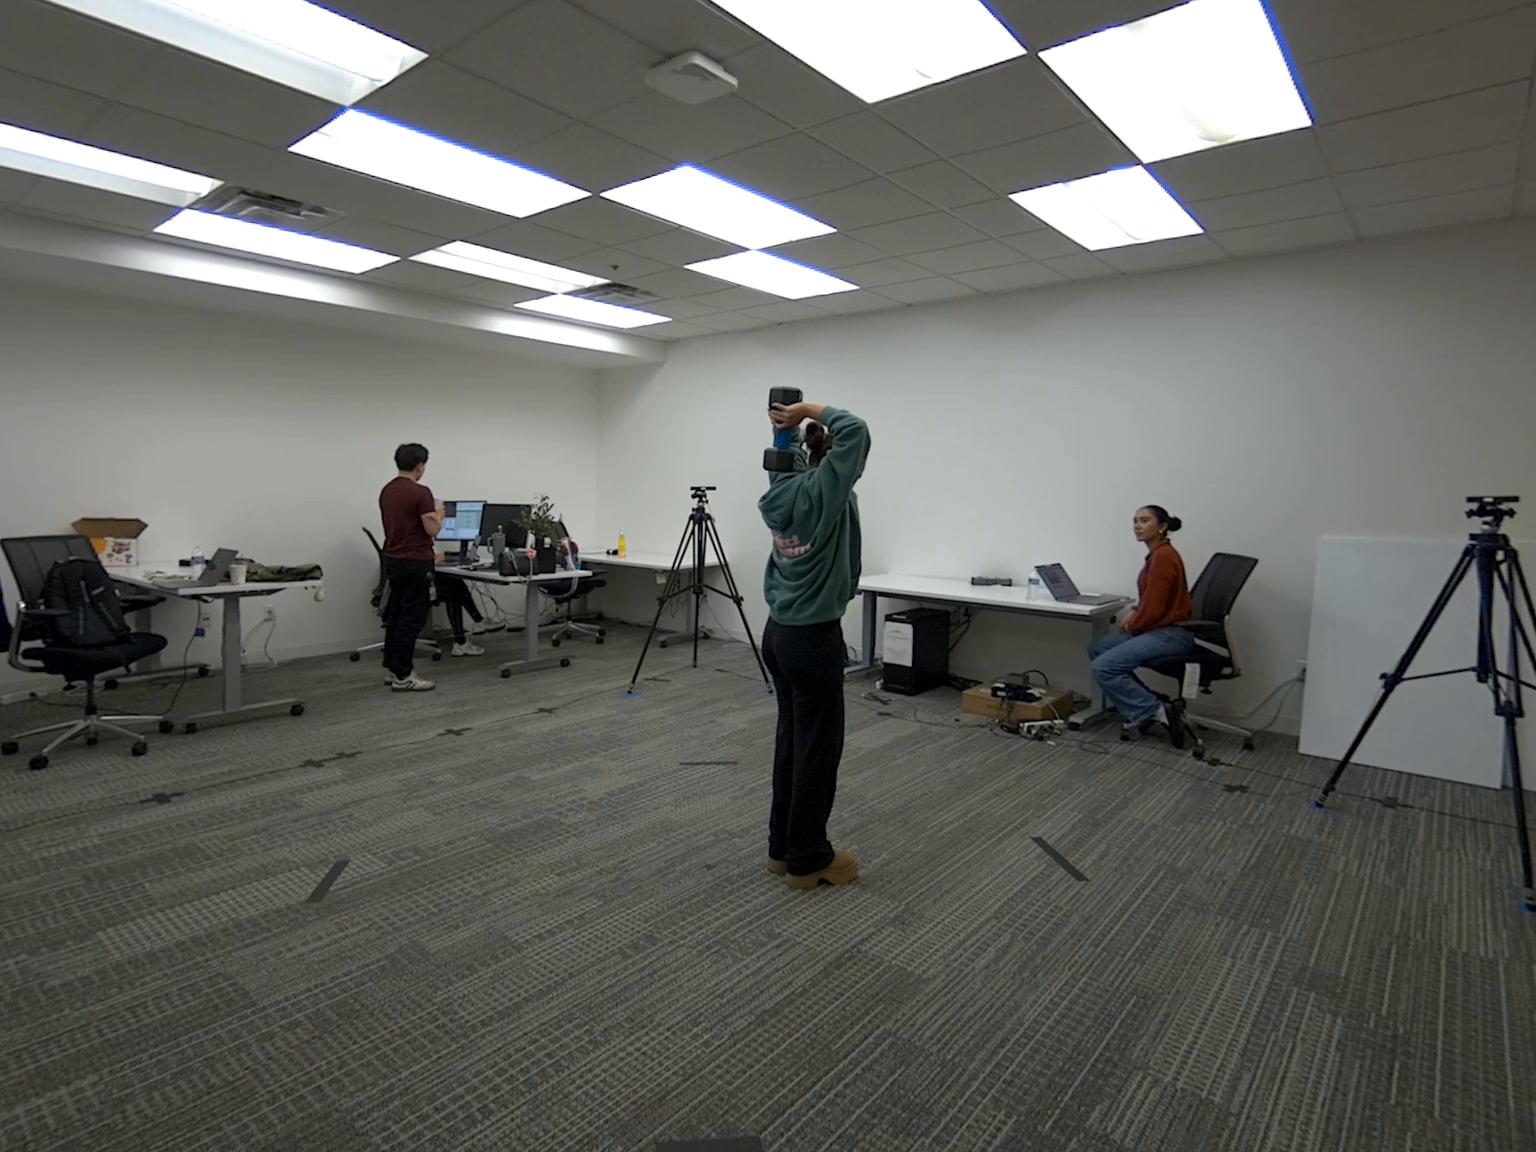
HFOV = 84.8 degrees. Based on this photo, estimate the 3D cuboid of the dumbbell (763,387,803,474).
[{"bbox_3d":[0.049,-0.516,2.969,0.120,0.293,0.112,4,4,-26],"label":"dumbbell"}]
